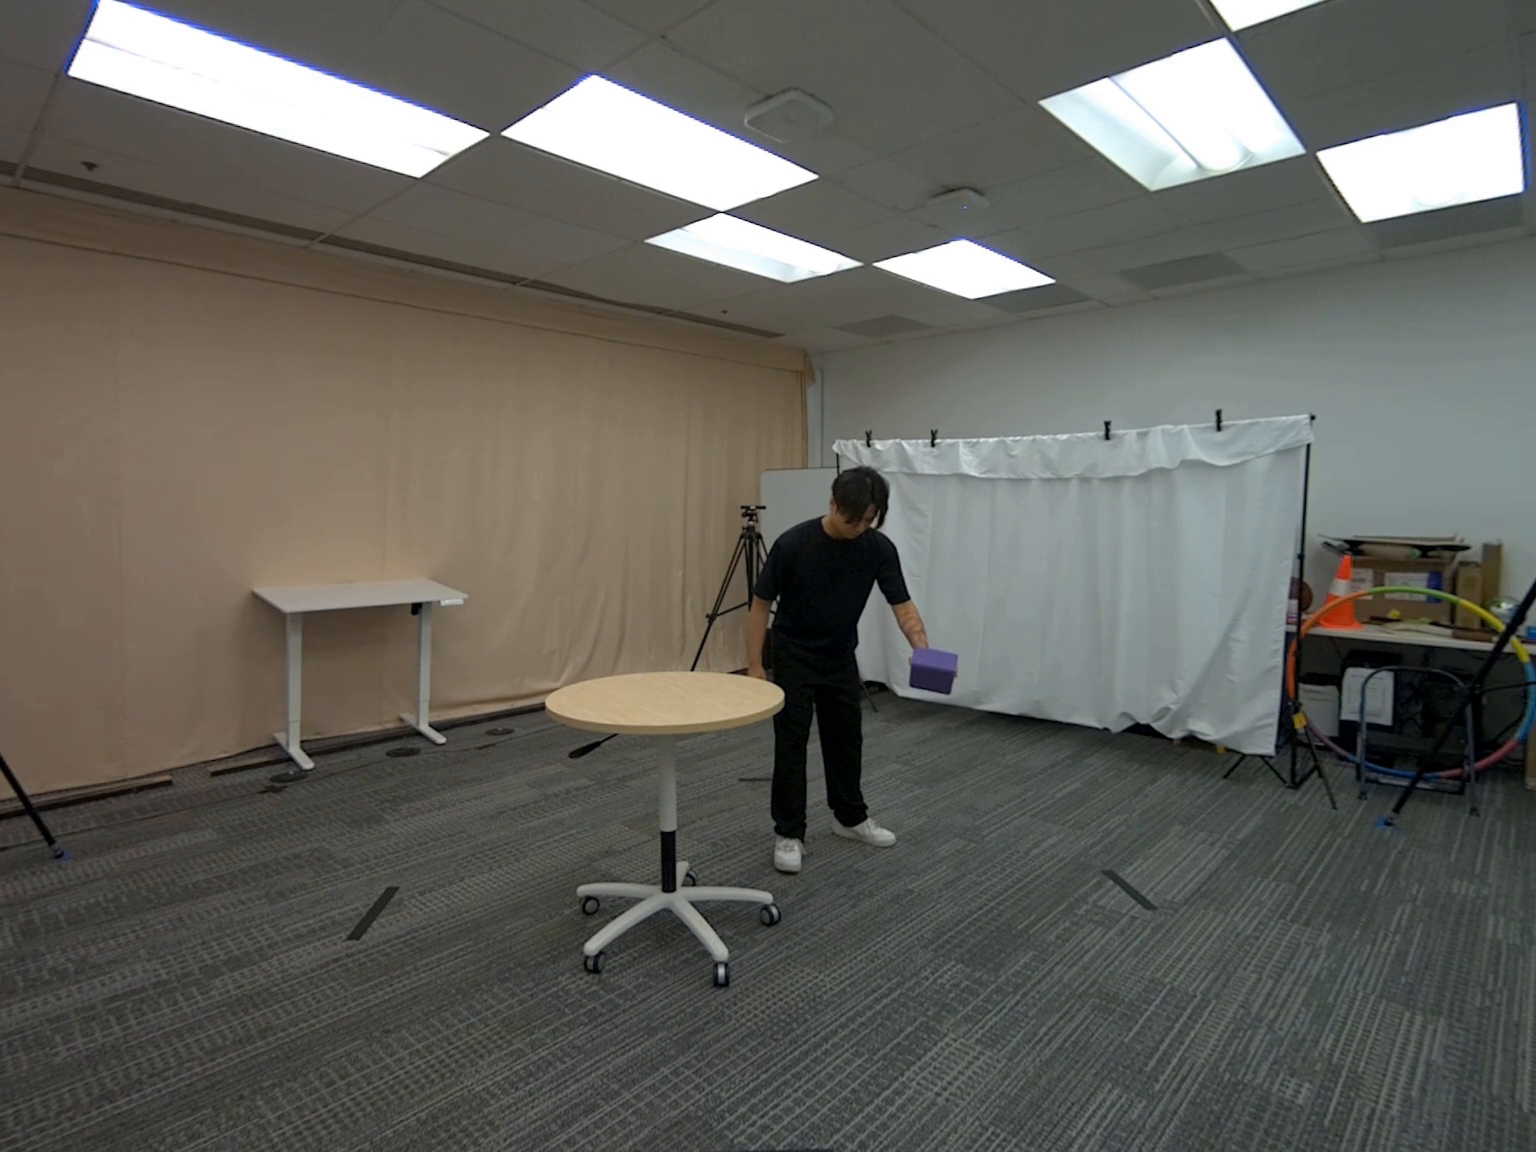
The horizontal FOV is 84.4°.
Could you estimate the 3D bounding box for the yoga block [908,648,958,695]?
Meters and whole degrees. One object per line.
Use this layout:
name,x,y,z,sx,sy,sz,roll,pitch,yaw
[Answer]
yoga block,0.579,0.331,2.938,0.152,0.077,0.224,11,-27,15
